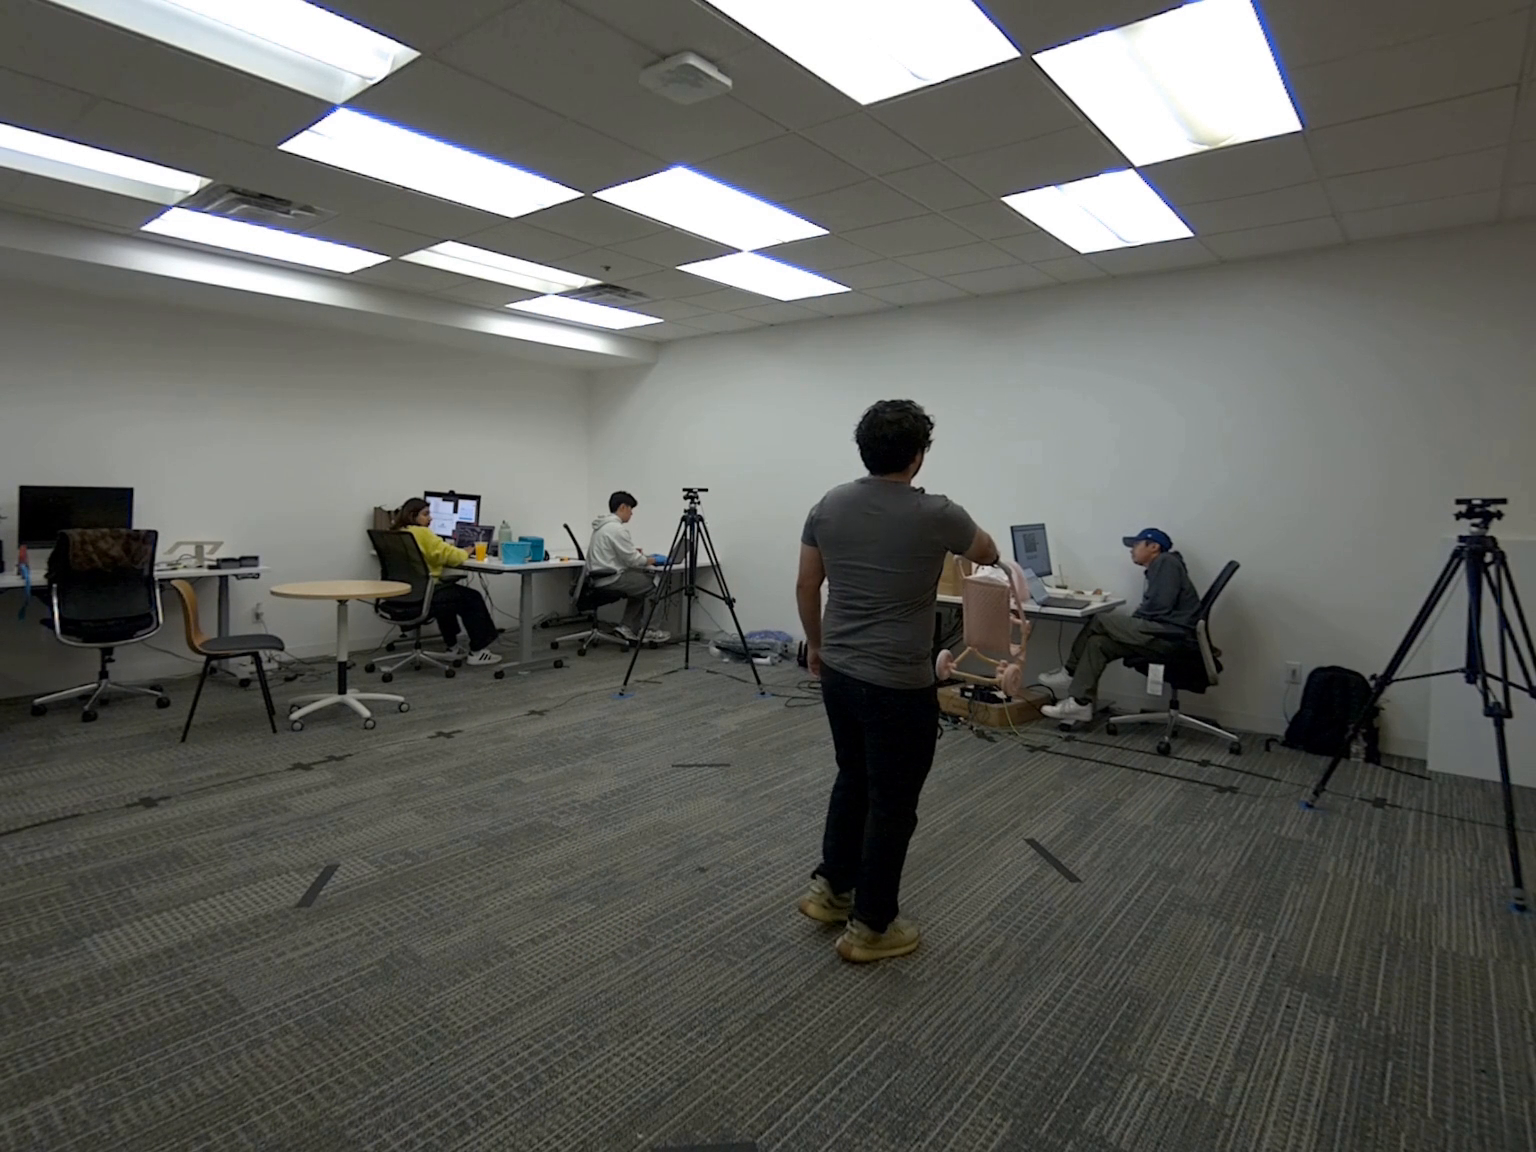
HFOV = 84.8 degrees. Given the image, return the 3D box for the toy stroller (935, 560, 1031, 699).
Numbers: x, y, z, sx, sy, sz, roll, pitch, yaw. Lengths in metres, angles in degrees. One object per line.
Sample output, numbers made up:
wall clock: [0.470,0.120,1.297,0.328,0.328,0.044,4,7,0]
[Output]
toy stroller: [0.803,0.174,3.077,0.291,0.531,0.332,9,10,41]
